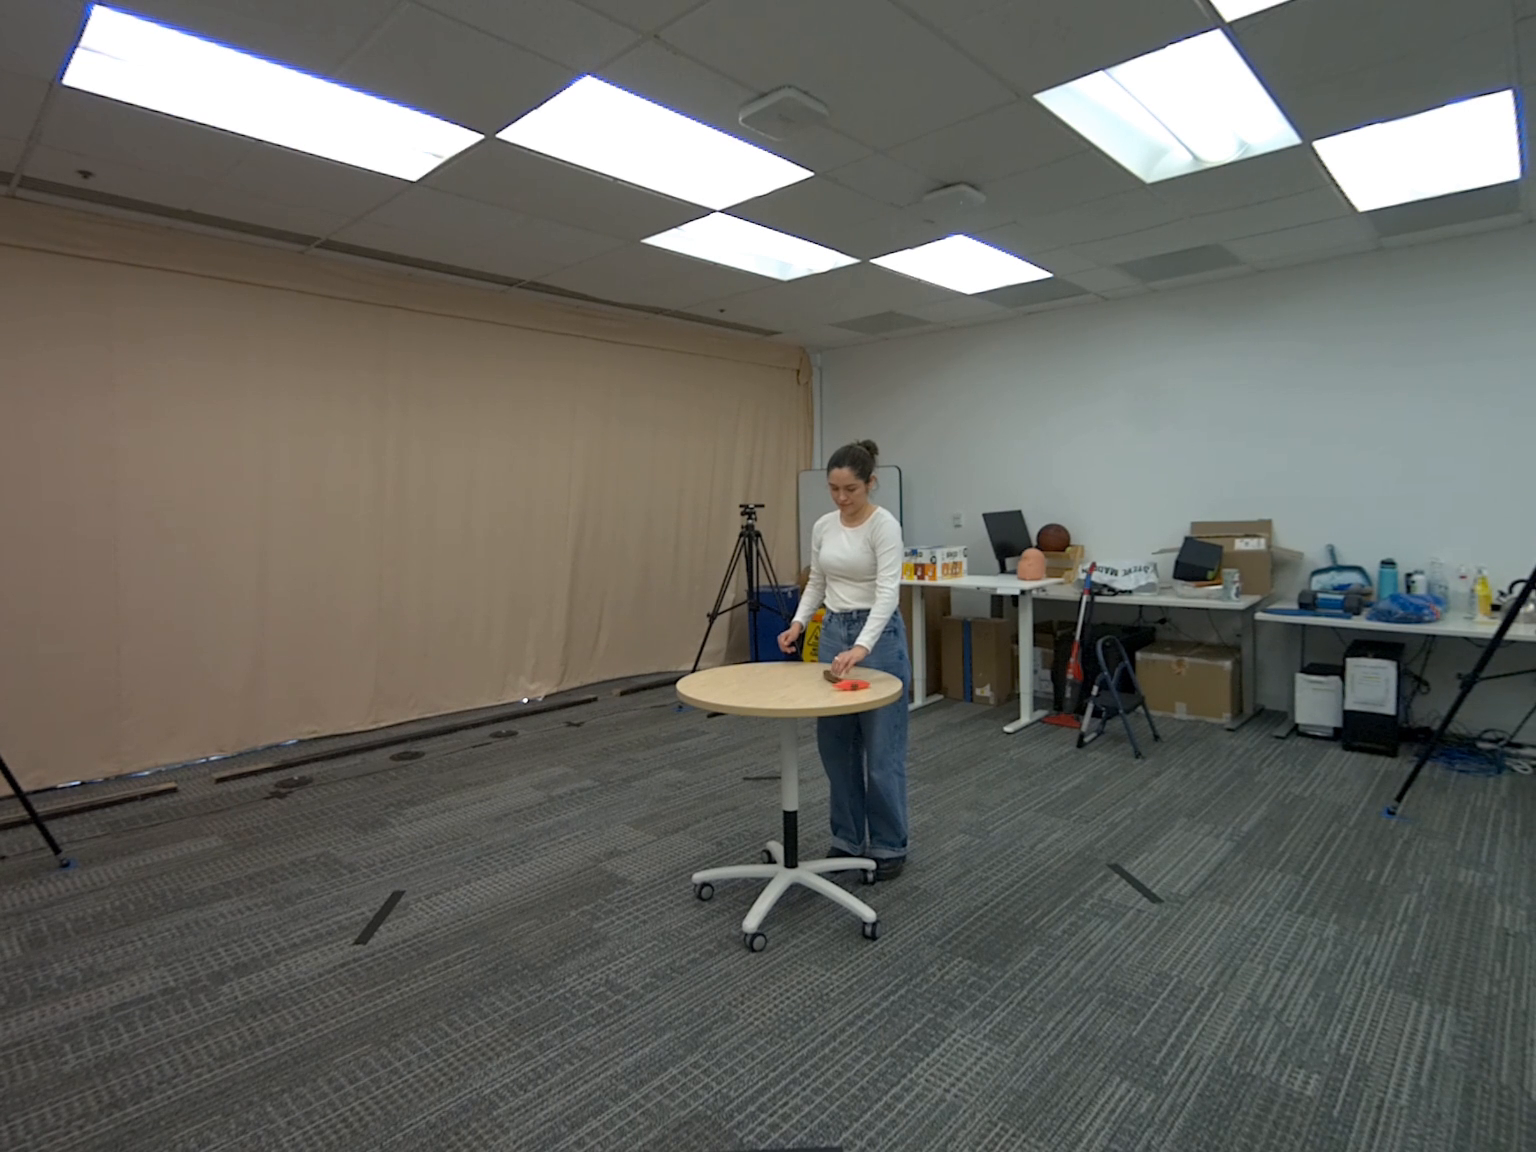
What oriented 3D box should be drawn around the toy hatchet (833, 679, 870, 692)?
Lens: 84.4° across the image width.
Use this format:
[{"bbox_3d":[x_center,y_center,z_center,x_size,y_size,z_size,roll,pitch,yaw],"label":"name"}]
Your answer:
[{"bbox_3d":[0.274,0.349,2.843,0.131,0.029,0.270,-4,3,-2],"label":"toy hatchet"}]
